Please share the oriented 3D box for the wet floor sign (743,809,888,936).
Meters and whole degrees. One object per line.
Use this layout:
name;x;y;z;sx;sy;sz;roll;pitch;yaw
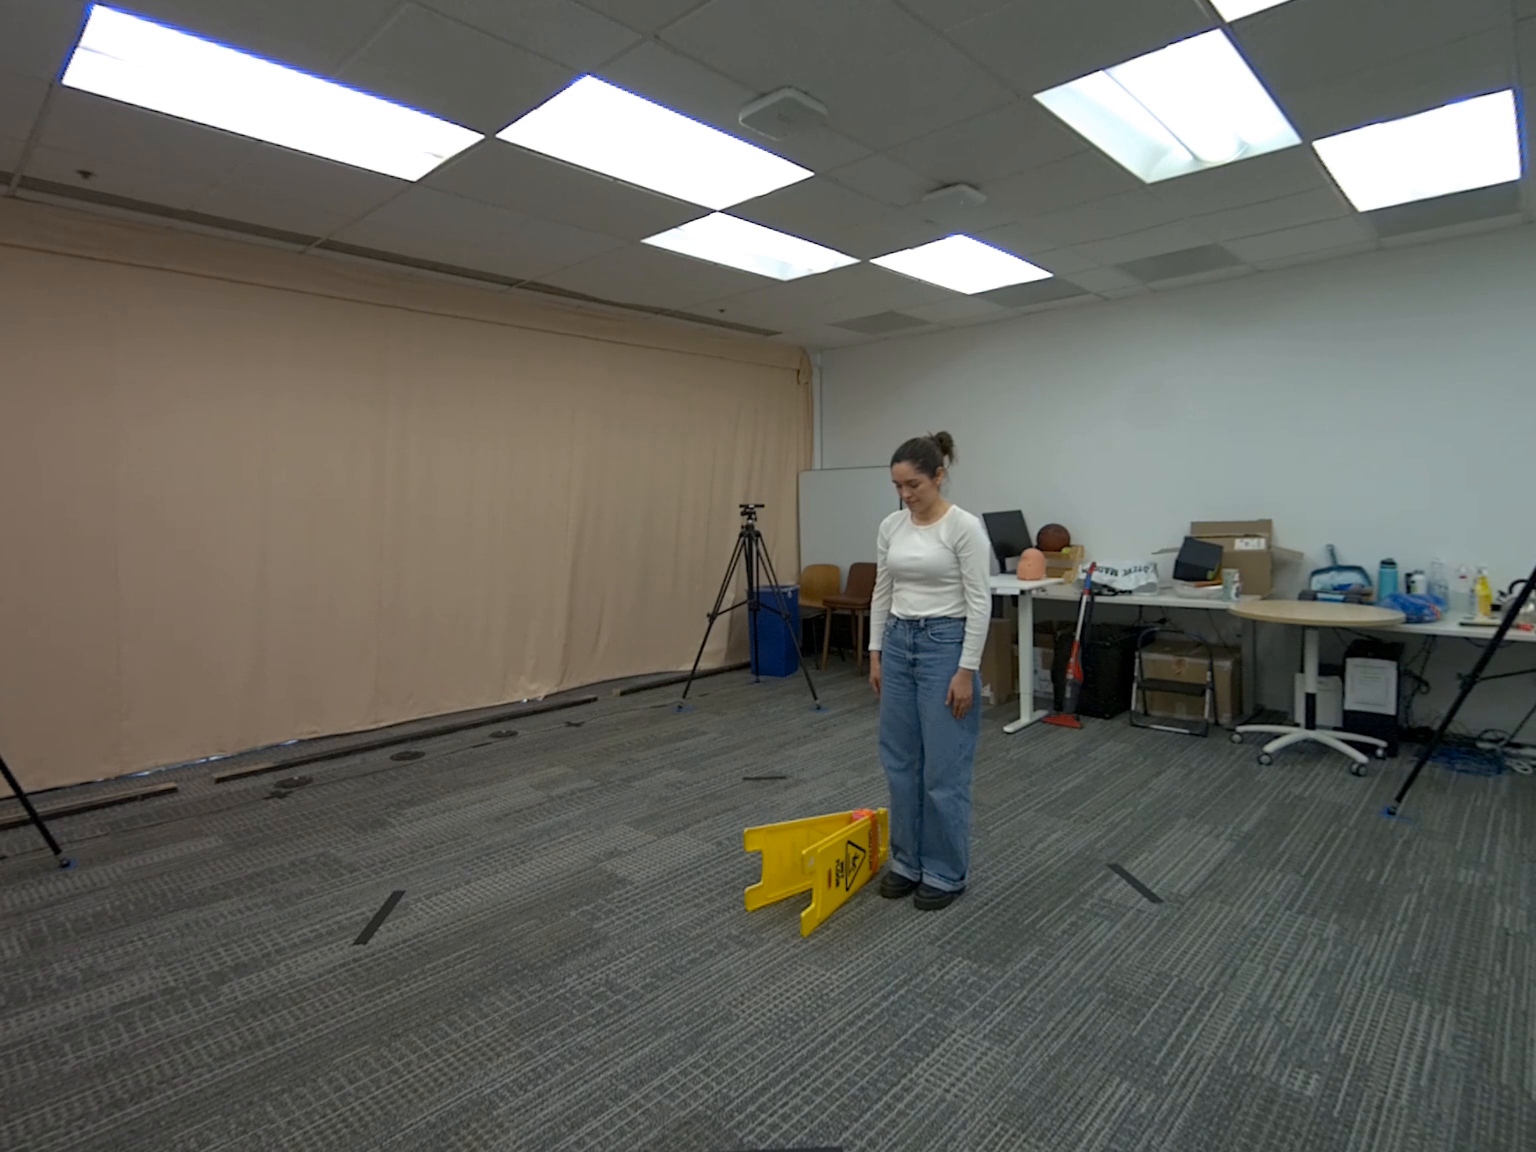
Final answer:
wet floor sign;0.237;1.004;3.013;0.299;0.282;0.626;4;5;44
